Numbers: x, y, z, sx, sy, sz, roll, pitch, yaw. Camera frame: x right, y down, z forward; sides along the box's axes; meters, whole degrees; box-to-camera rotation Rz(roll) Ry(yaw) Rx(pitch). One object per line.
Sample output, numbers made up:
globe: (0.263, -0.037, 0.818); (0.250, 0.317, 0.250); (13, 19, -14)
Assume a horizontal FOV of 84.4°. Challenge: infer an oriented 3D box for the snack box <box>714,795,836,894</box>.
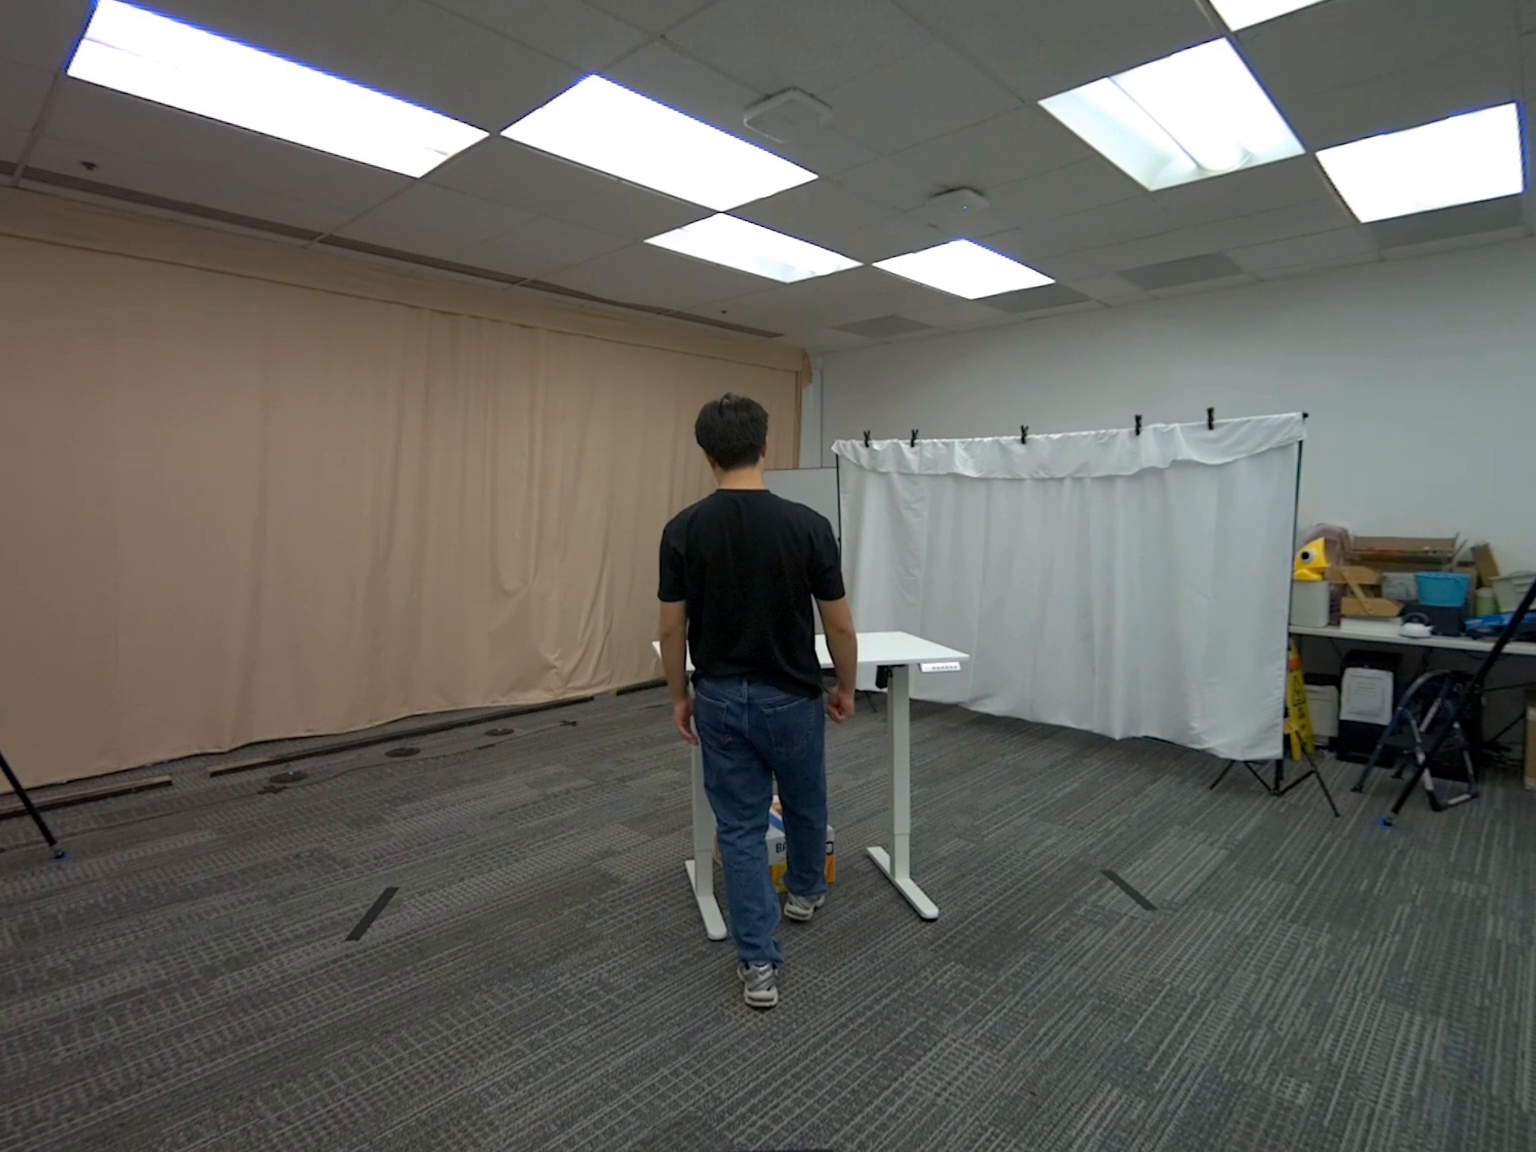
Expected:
snack box: (0.006, 1.020, 3.218); (0.333, 0.205, 0.415); (-2, 5, -24)
